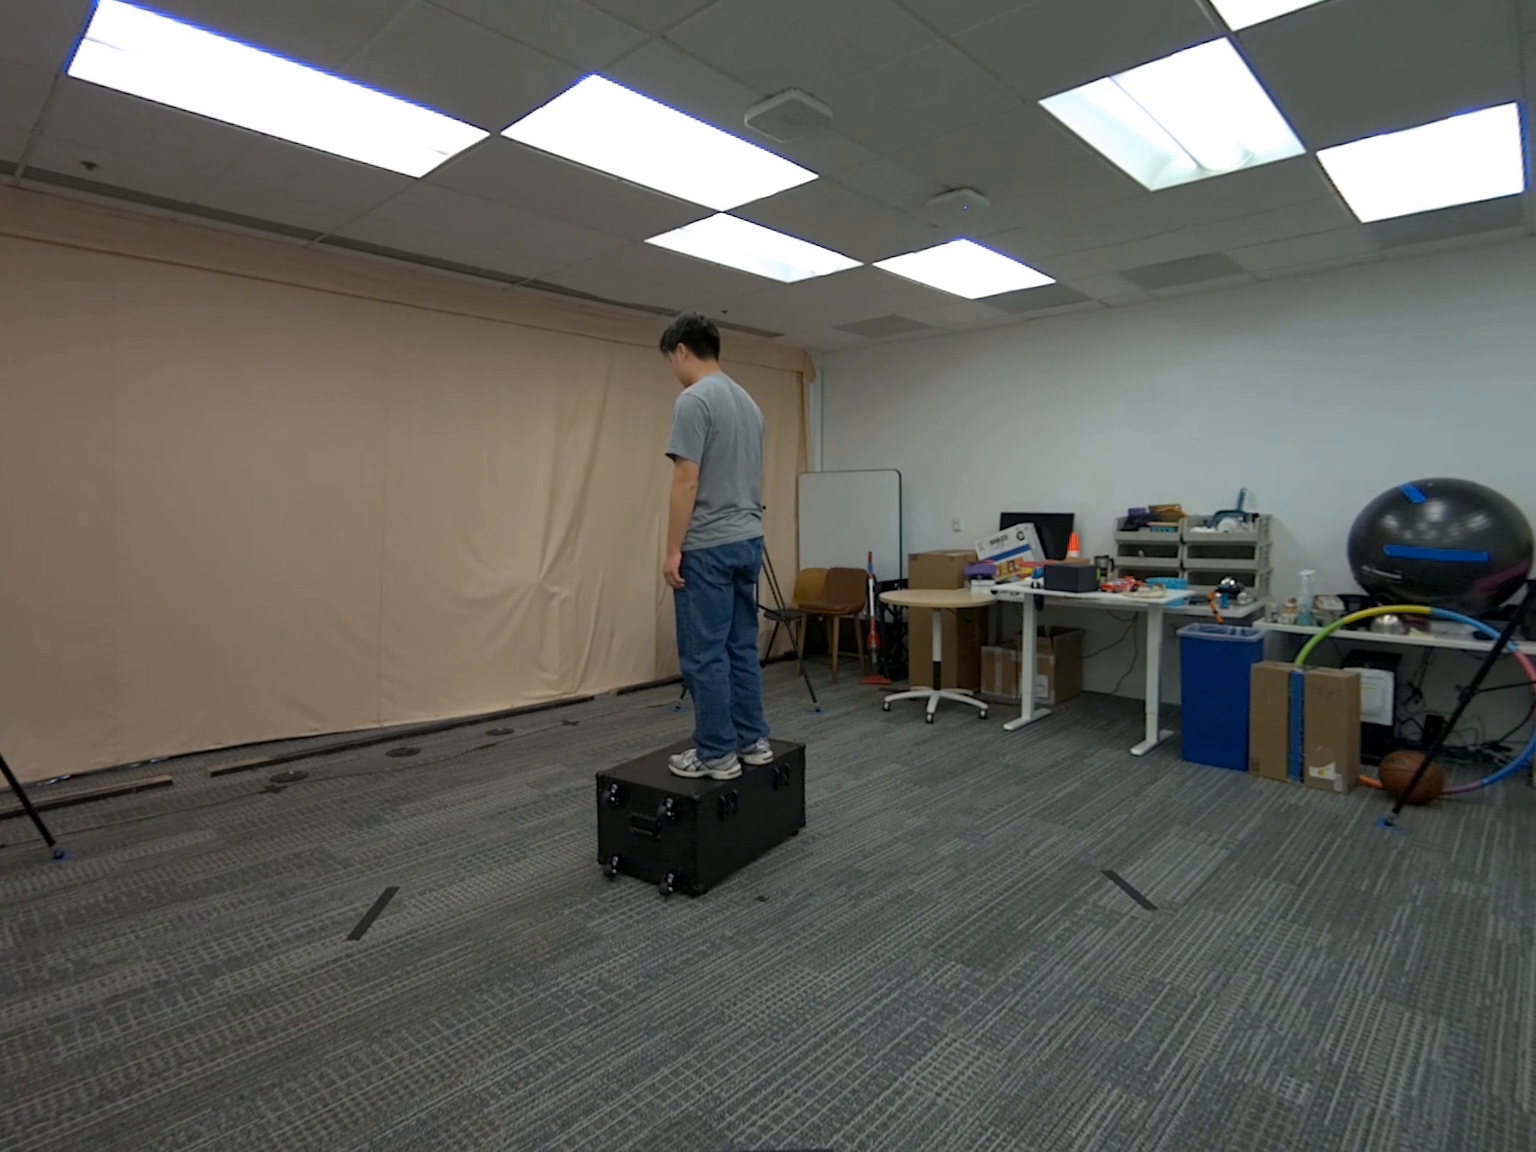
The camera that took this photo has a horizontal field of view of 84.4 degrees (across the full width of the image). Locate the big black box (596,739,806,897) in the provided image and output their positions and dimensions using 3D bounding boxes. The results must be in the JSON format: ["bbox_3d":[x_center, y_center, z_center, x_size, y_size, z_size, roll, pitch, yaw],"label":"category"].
[{"bbox_3d":[-0.264,0.924,3.383,0.537,0.395,0.837,3,5,33],"label":"big black box"}]
